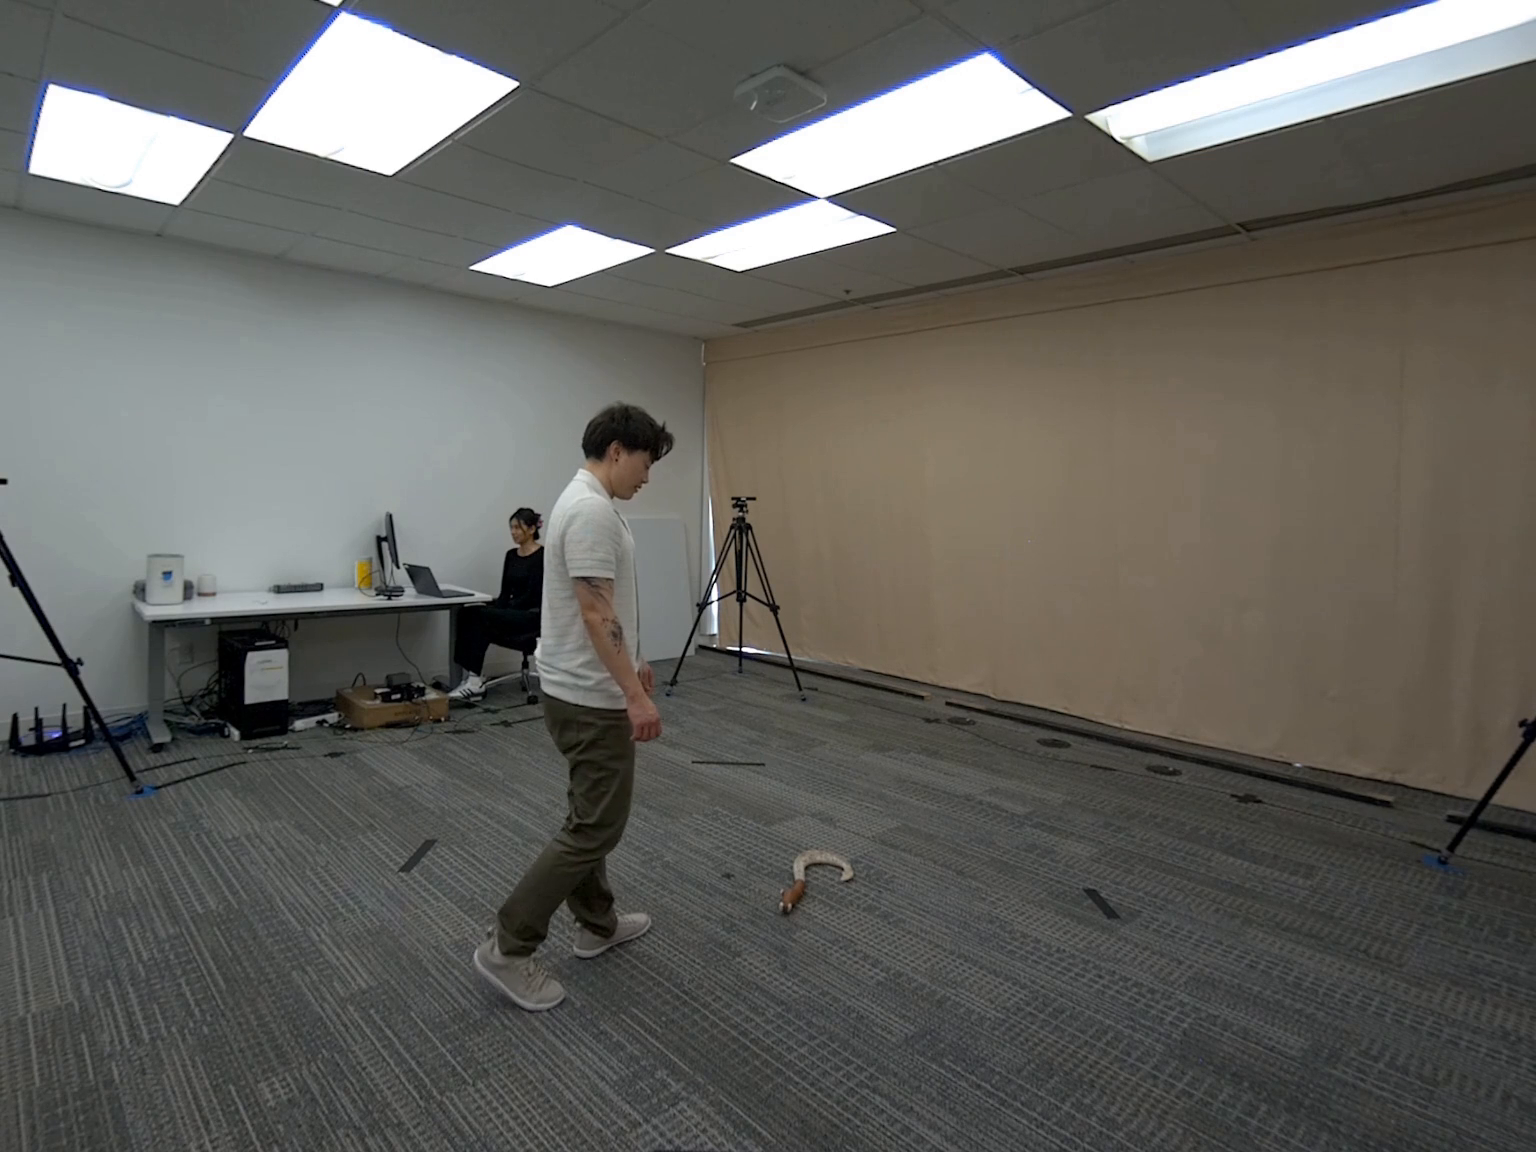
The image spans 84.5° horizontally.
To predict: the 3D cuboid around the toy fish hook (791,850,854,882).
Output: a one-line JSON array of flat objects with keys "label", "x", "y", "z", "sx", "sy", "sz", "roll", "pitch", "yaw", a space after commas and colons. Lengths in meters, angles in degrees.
[{"label": "toy fish hook", "x": 0.166, "y": 1.096, "z": 3.023, "sx": 0.228, "sy": 0.048, "sz": 0.501, "roll": 1, "pitch": 5, "yaw": 16}]
